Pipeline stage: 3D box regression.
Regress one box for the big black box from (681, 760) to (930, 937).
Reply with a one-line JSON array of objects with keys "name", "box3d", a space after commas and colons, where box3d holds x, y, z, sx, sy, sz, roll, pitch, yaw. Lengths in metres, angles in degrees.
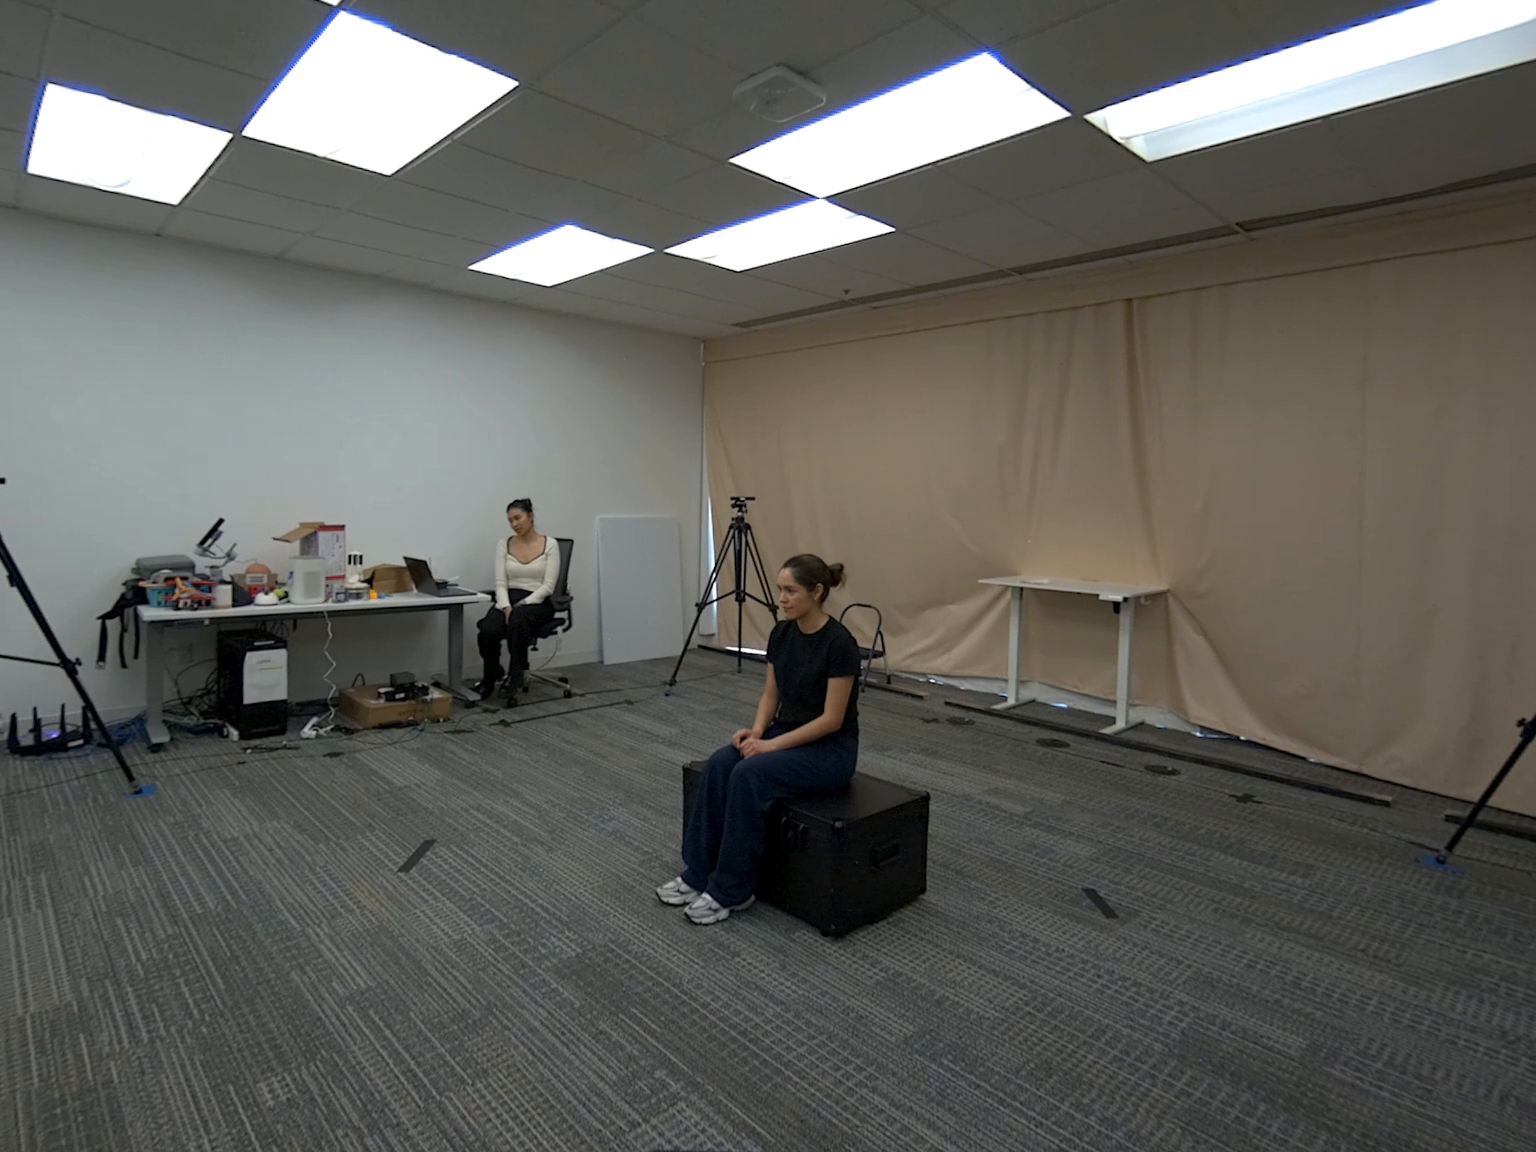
[{"name": "big black box", "box3d": [0.094, 0.926, 3.088, 0.509, 0.395, 0.884, -2, 6, -44]}]
